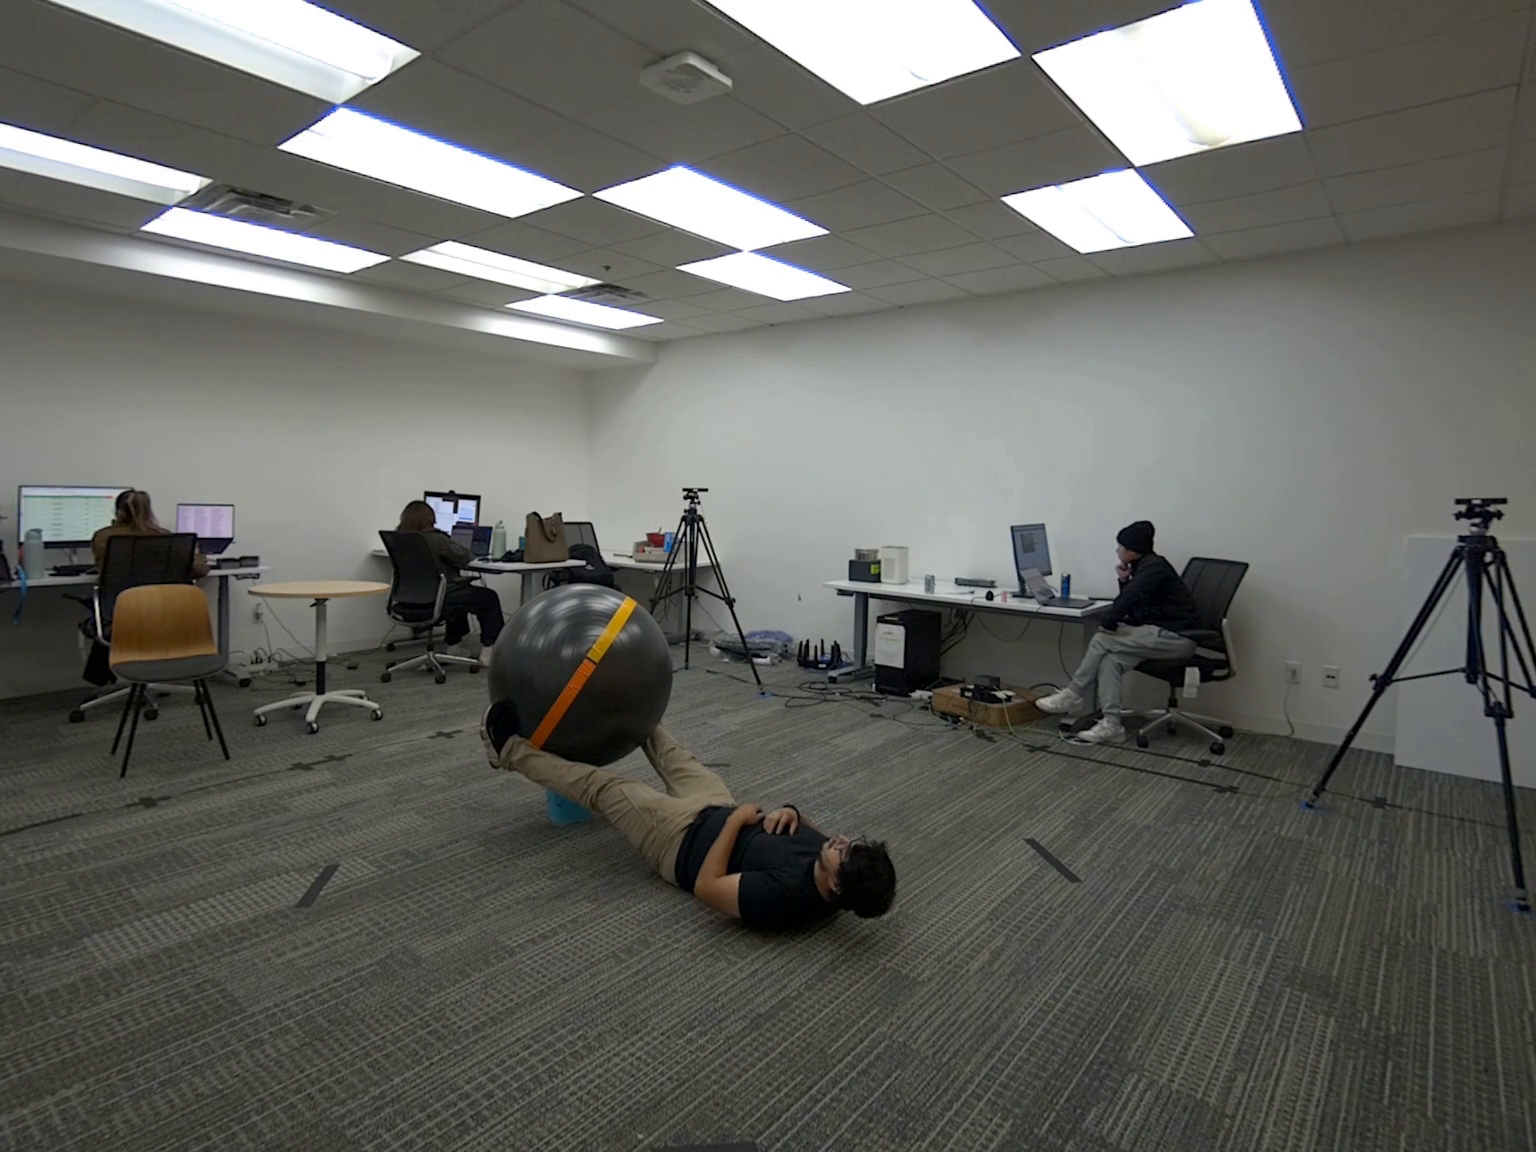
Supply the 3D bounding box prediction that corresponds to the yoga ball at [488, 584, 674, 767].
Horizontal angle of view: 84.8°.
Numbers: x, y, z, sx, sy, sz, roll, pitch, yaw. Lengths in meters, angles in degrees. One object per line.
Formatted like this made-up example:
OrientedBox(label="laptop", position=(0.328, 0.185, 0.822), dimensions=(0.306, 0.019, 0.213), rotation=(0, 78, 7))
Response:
OrientedBox(label="yoga ball", position=(-0.787, 0.413, 3.536), dimensions=(0.757, 0.755, 0.762), rotation=(1, 4, -2))
